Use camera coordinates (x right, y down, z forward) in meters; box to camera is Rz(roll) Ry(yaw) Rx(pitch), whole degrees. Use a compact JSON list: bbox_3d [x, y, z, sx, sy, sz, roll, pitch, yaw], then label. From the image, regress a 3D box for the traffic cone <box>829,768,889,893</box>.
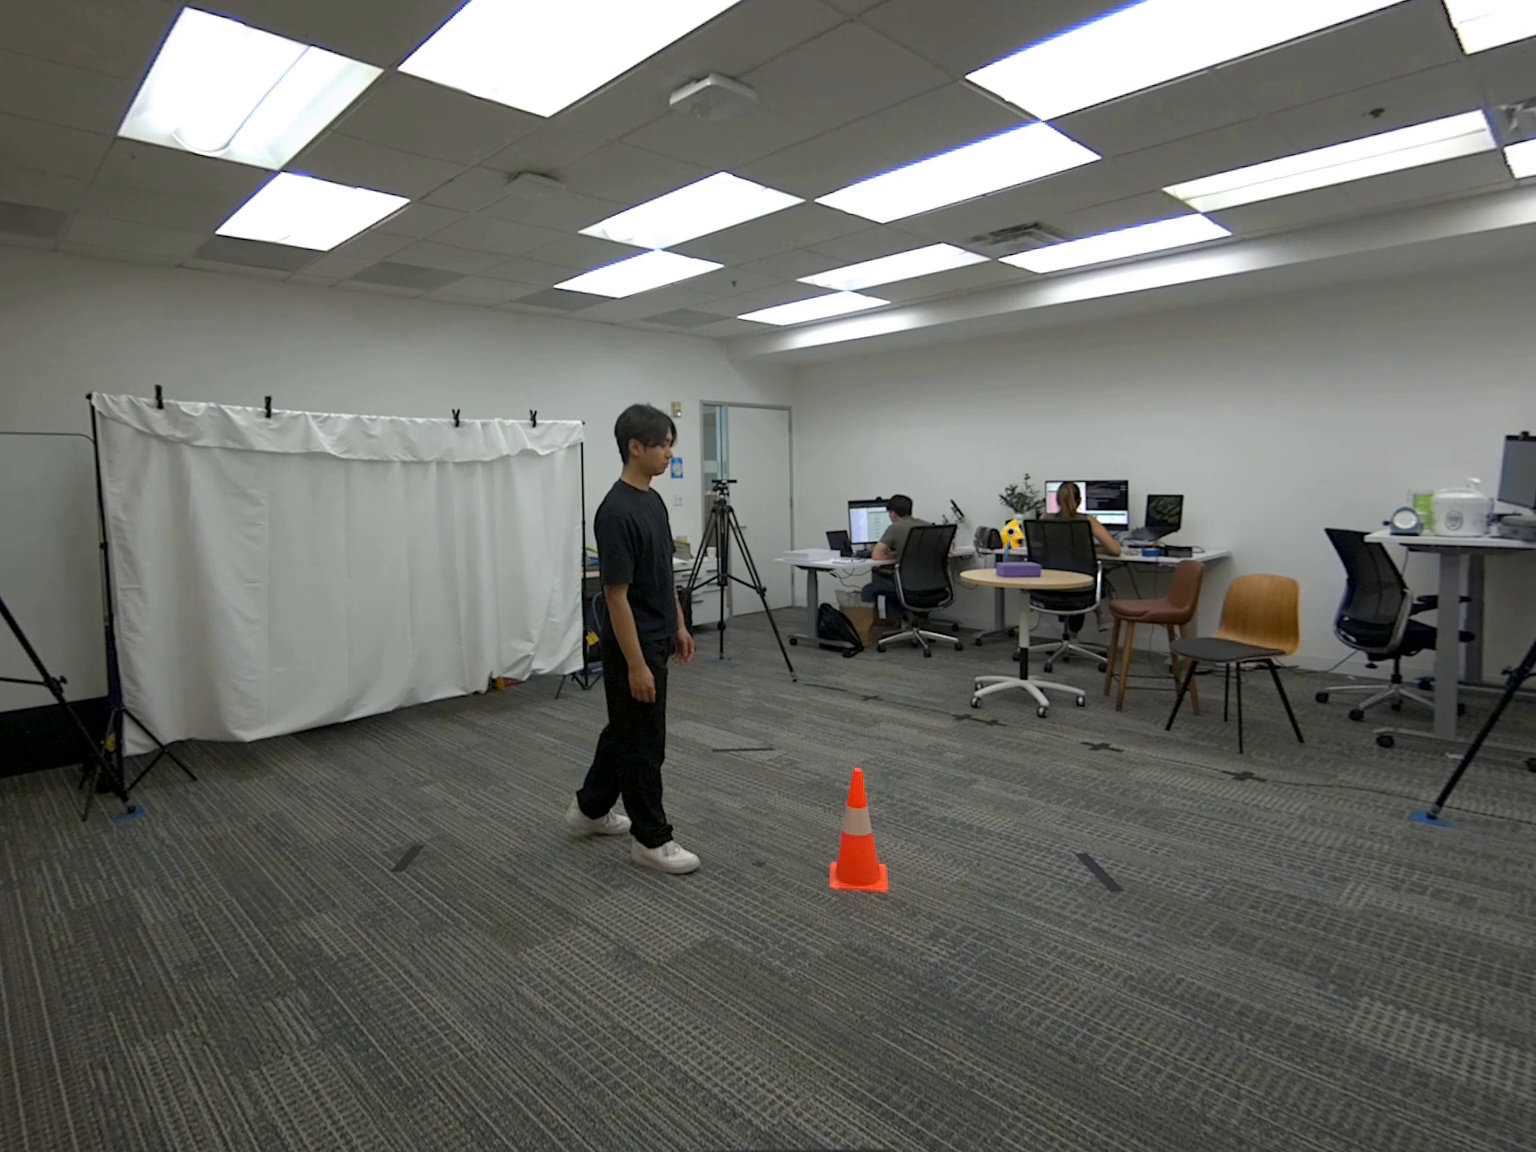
[{"bbox_3d":[0.309,0.868,2.968,0.205,0.381,0.204,-1,6,8],"label":"traffic cone"}]
